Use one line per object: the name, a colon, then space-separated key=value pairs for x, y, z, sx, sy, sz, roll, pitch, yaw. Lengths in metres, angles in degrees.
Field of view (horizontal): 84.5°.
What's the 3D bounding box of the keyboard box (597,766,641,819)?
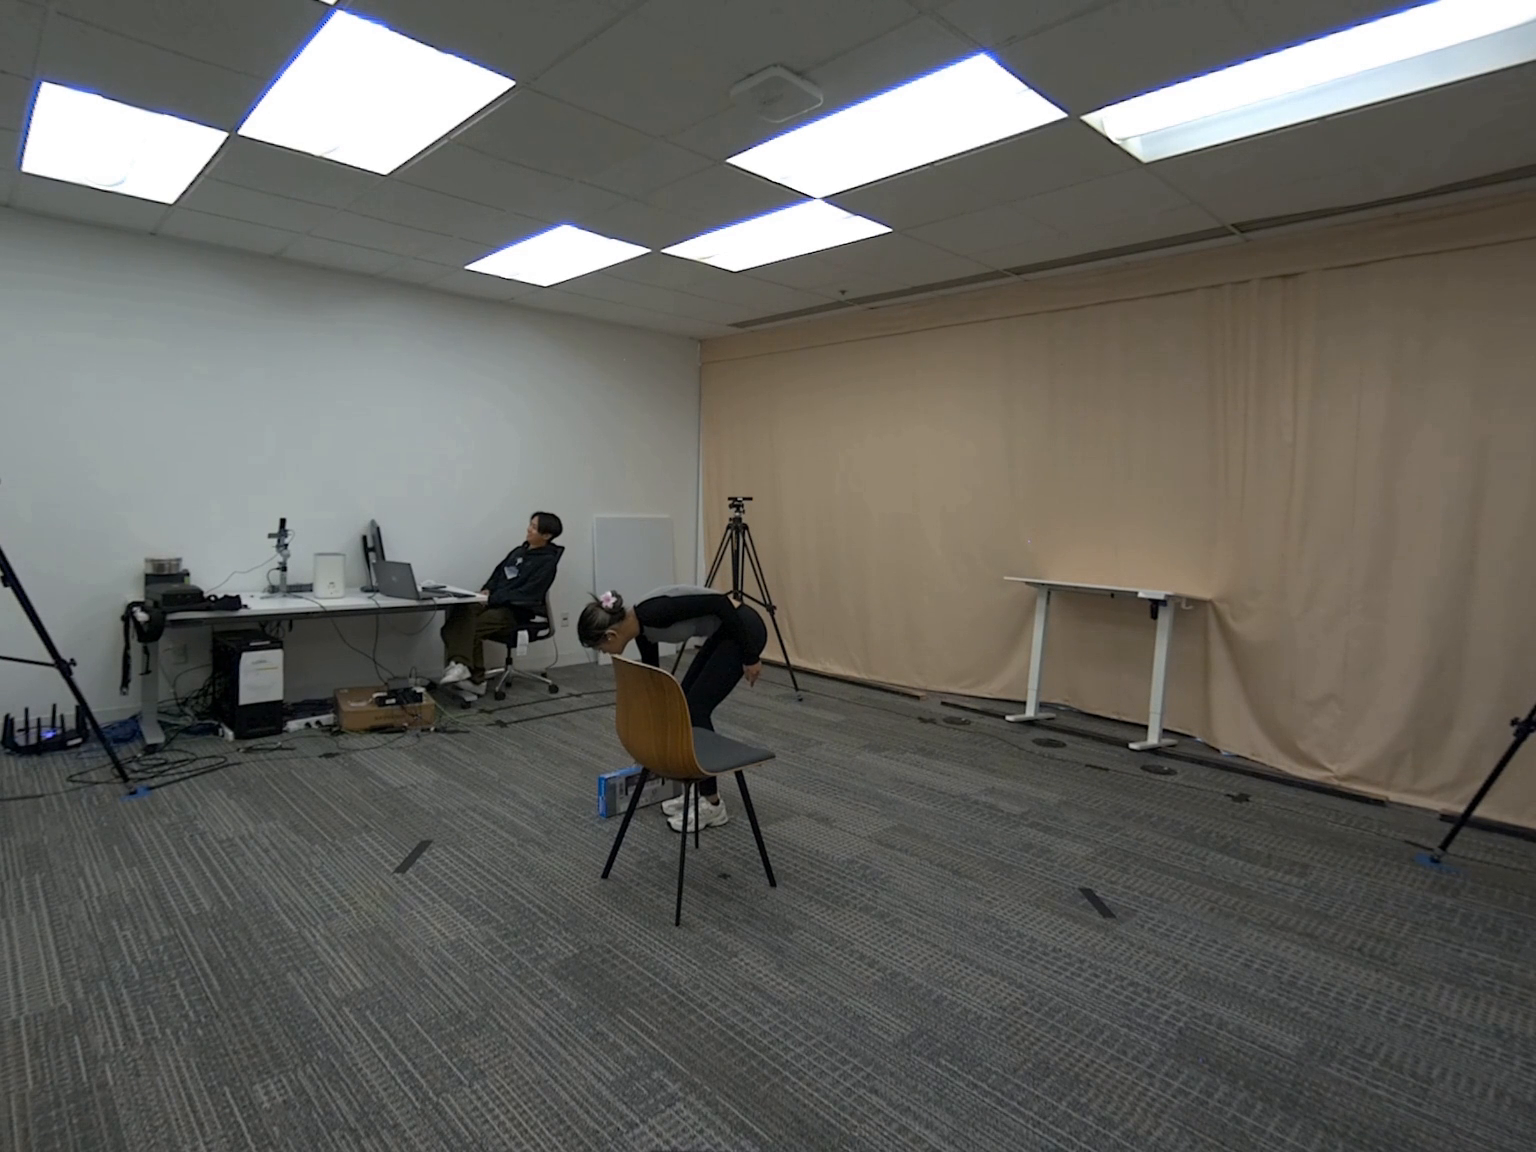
keyboard box: x=-0.581 y=0.951 z=3.805 sx=0.060 sy=0.176 sz=0.427 roll=2 pitch=3 yaw=44
